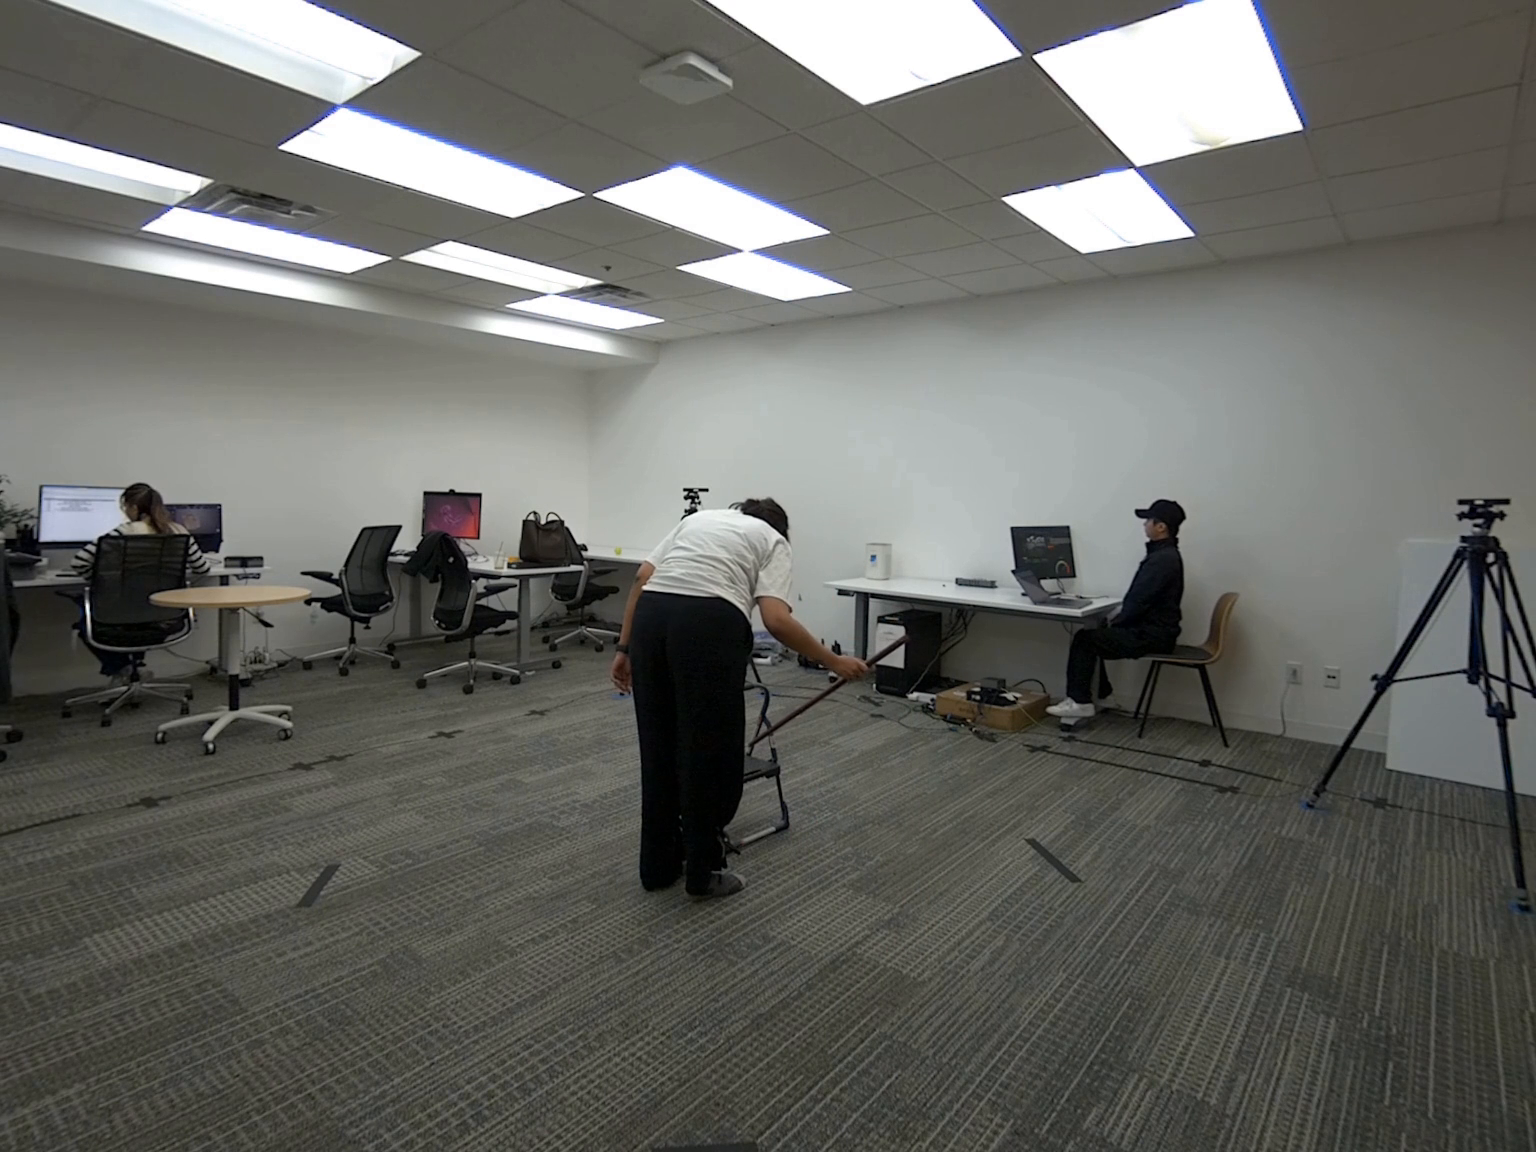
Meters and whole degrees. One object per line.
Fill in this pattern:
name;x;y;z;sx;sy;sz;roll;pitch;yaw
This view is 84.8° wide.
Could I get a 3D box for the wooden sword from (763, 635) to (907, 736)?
wooden sword;0.150;0.451;3.094;0.023;0.052;1.028;-19;-16;-44
